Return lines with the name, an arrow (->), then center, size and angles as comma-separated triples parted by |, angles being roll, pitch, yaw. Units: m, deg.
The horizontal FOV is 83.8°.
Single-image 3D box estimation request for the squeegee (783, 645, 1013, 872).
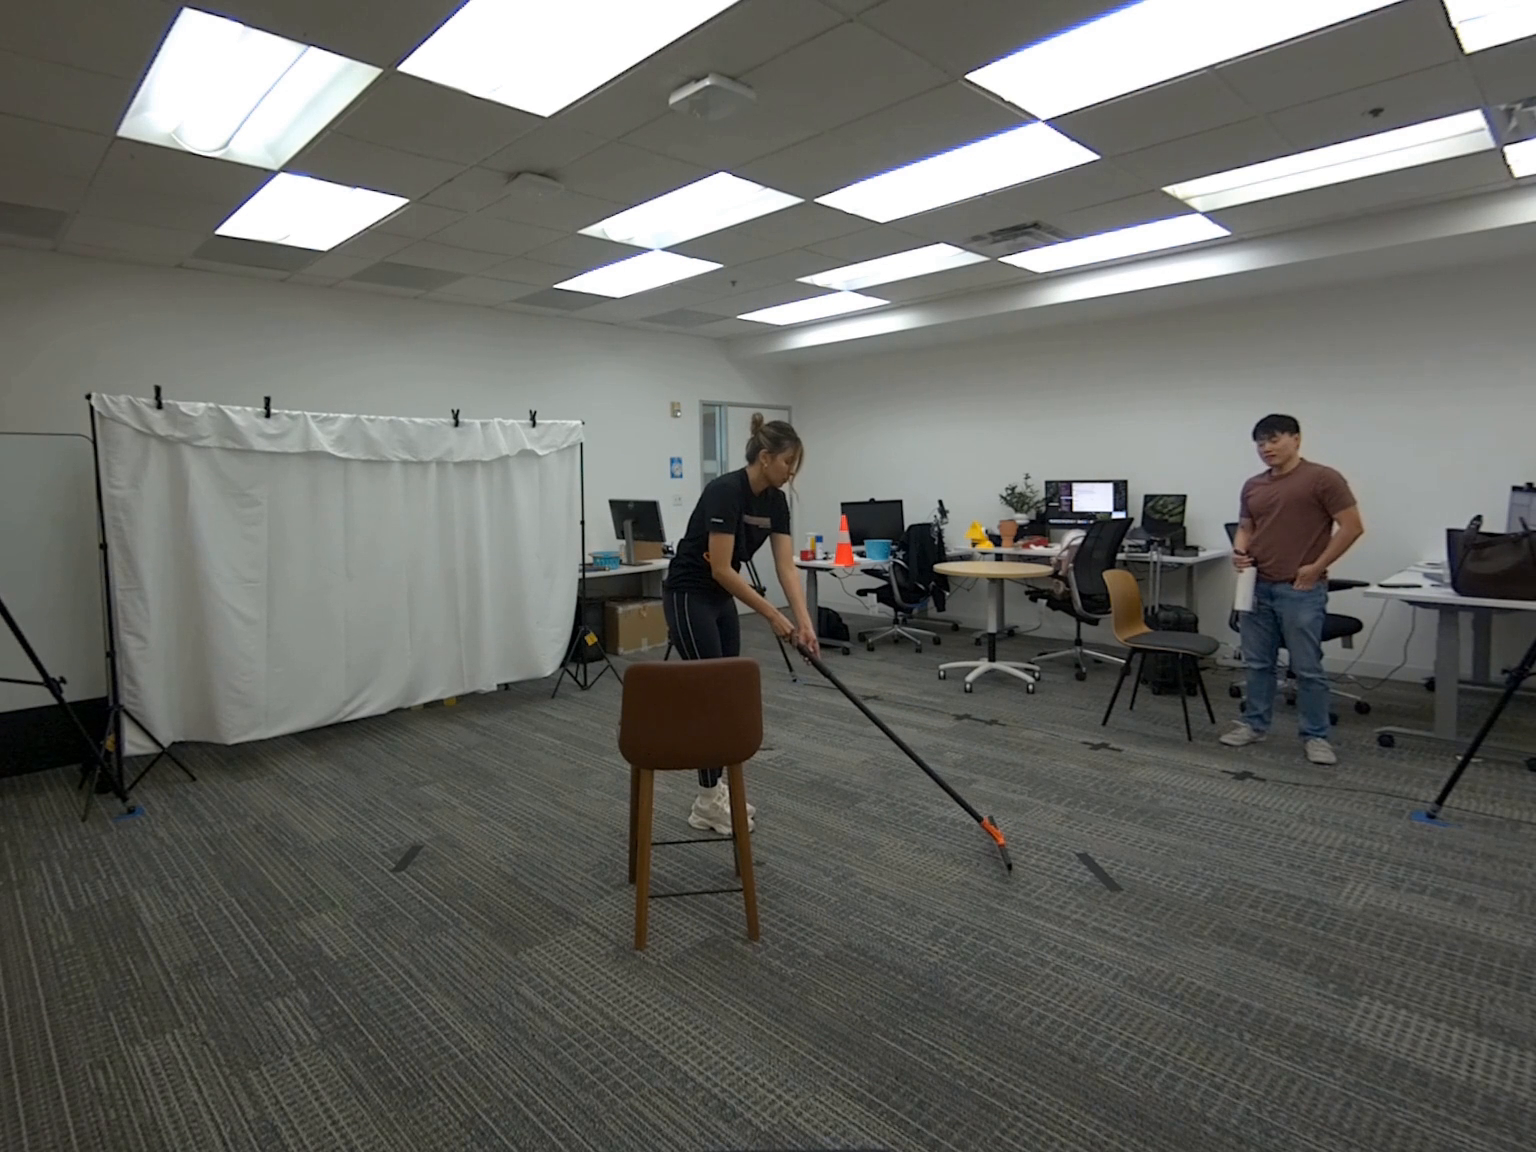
squeegee -> 0.334, 0.461, 3.205 | 1.548, 0.053, 0.434 | 44, 9, 5
